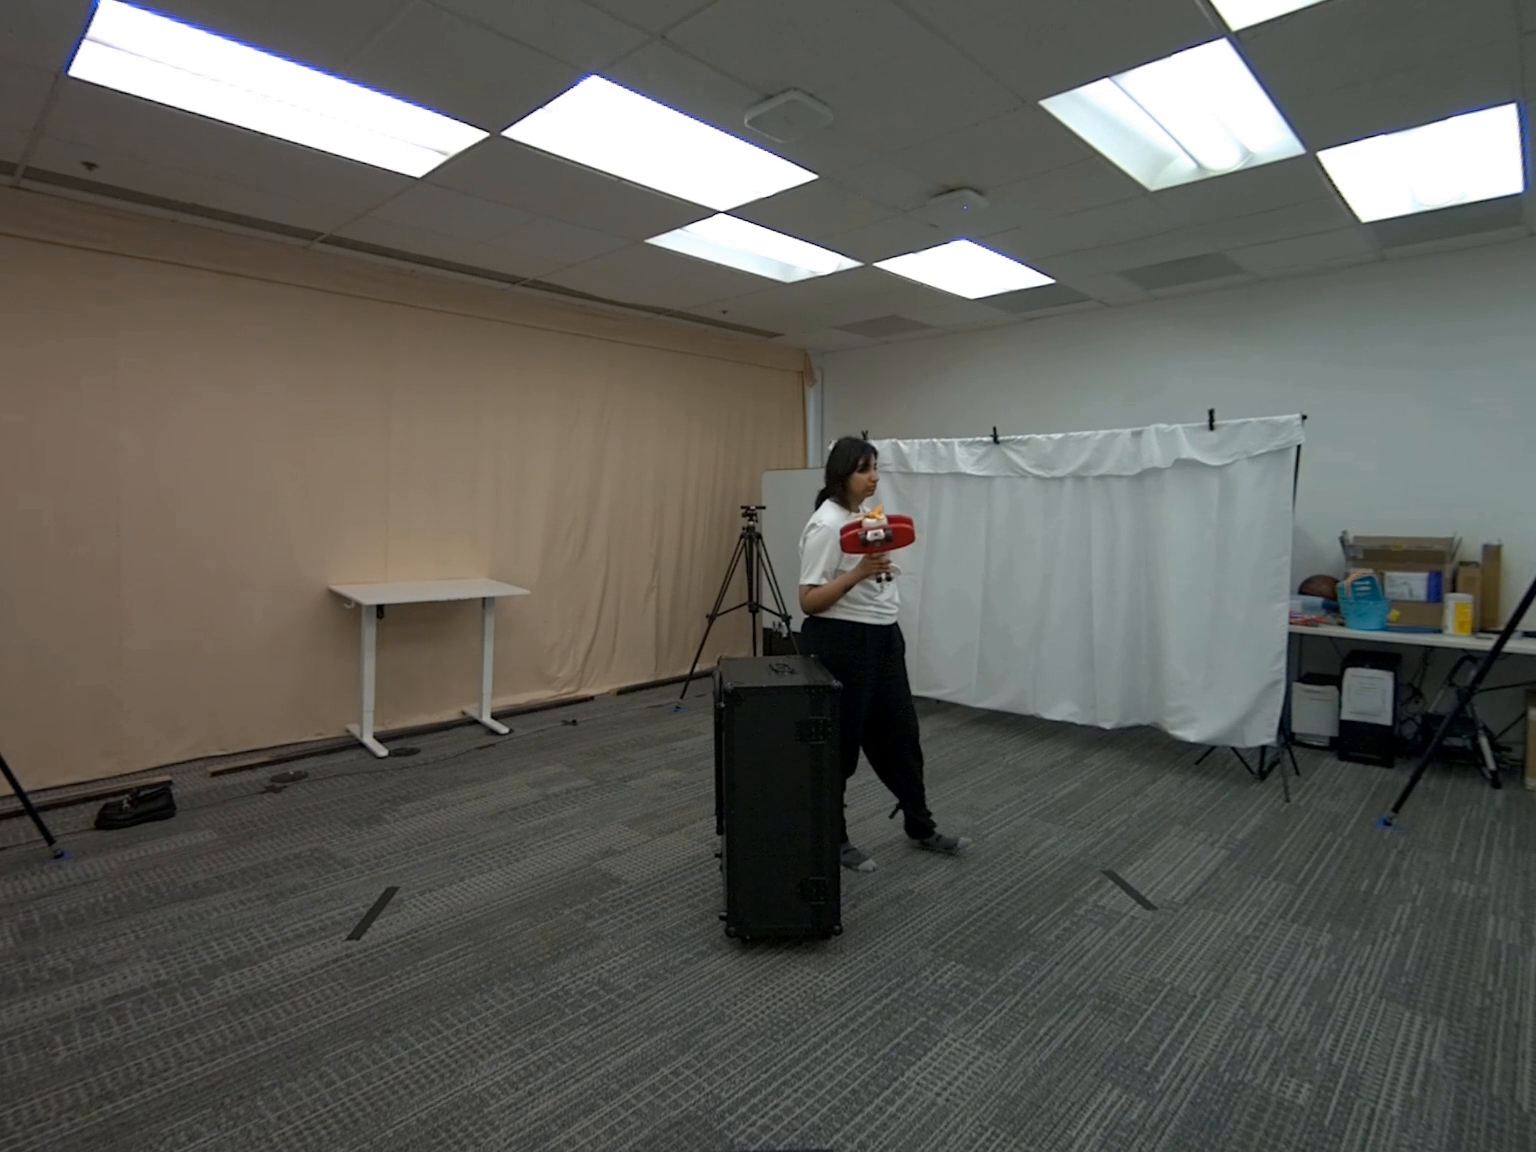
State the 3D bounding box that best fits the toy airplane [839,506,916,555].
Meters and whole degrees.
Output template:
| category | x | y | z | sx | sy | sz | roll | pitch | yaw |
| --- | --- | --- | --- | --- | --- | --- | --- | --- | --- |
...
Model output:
| category | x | y | z | sx | sy | sz | roll | pitch | yaw |
| --- | --- | --- | --- | --- | --- | --- | --- | --- | --- |
| toy airplane | 0.361 | -0.104 | 2.929 | 0.249 | 0.257 | 0.158 | 14 | 40 | -6 |
